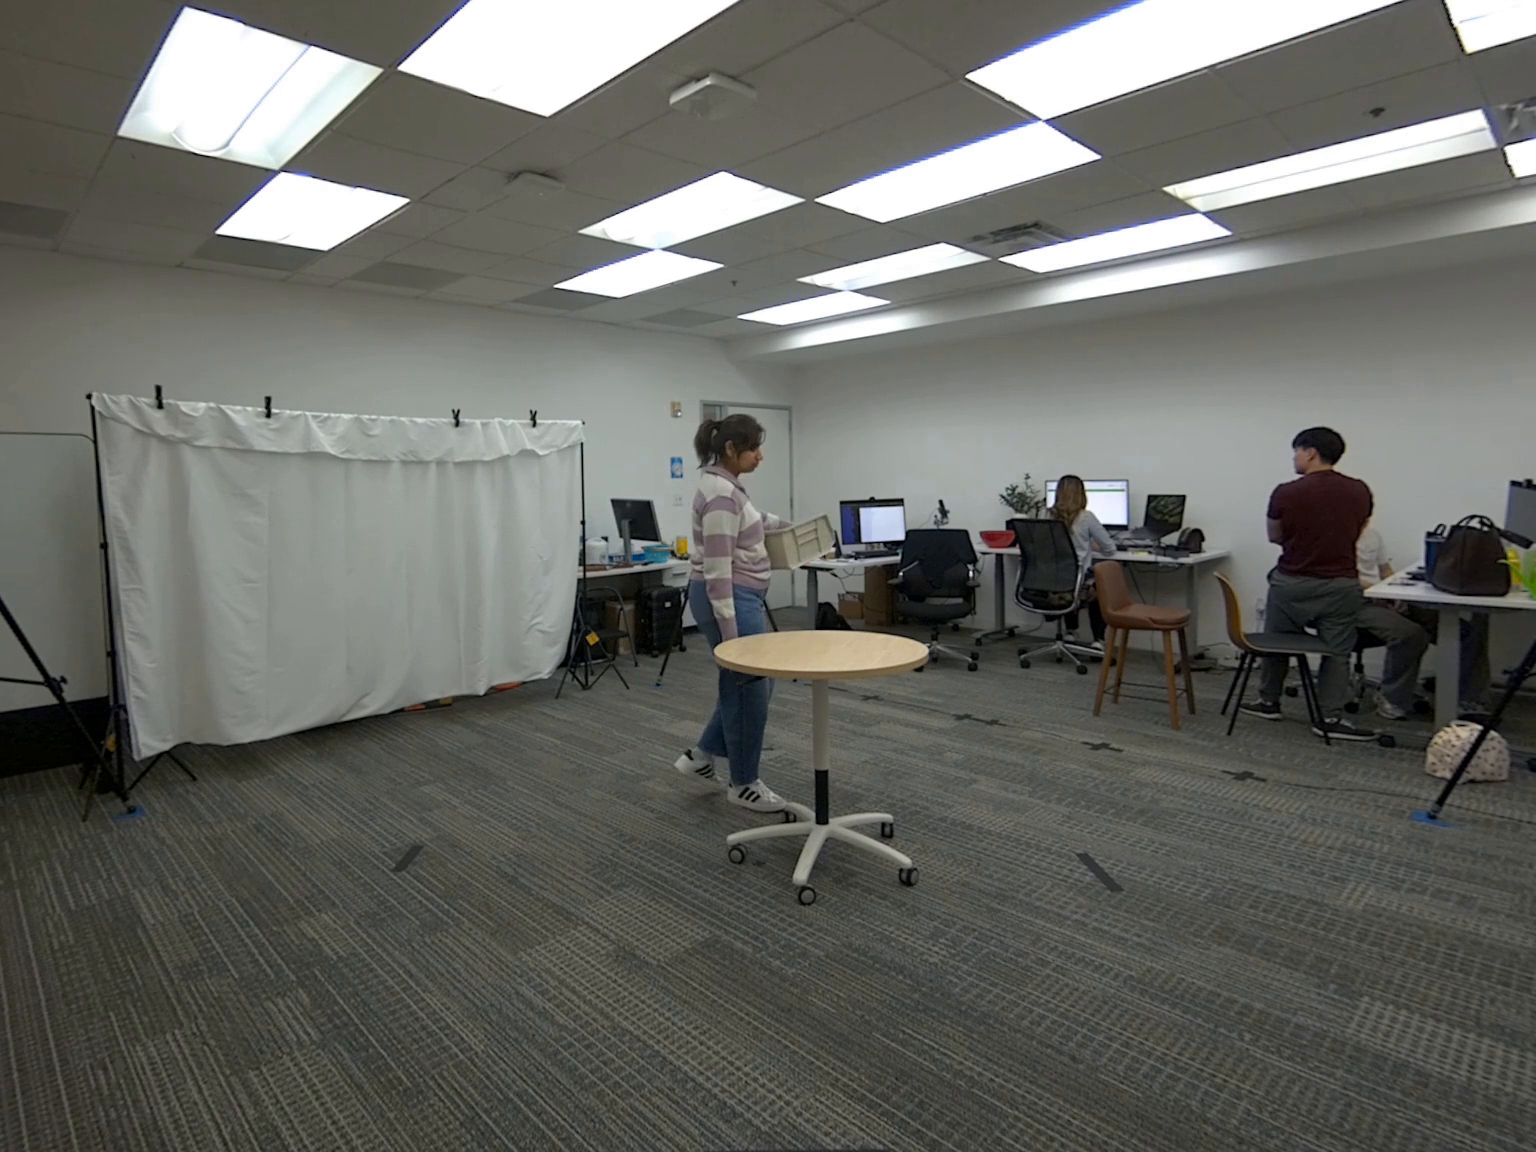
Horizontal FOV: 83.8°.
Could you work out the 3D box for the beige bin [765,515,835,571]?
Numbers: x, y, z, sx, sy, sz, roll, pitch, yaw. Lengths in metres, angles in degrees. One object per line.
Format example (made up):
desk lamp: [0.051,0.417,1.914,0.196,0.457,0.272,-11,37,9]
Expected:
beige bin: [0.029,-0.151,3.862,0.434,0.187,0.371,-2,15,40]
